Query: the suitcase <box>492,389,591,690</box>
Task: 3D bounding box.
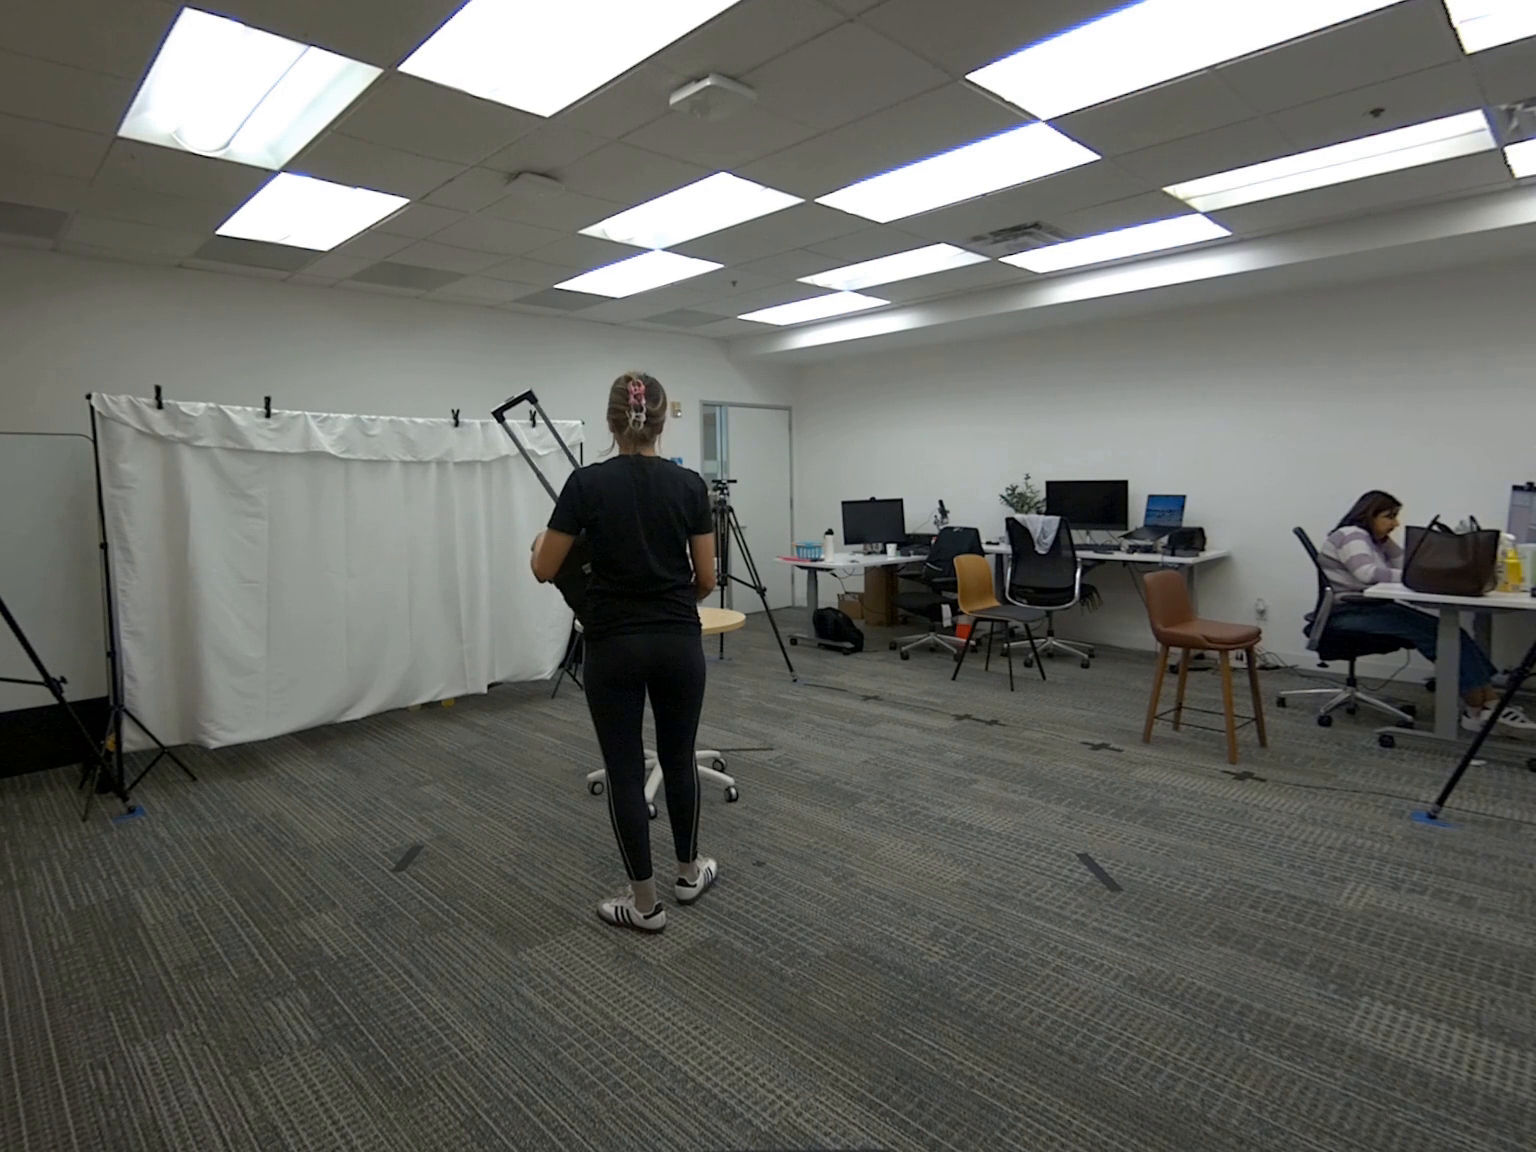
[{"bbox_3d":[-0.607,-0.150,2.881,0.386,0.952,0.262,-24,24,12],"label":"suitcase"}]
